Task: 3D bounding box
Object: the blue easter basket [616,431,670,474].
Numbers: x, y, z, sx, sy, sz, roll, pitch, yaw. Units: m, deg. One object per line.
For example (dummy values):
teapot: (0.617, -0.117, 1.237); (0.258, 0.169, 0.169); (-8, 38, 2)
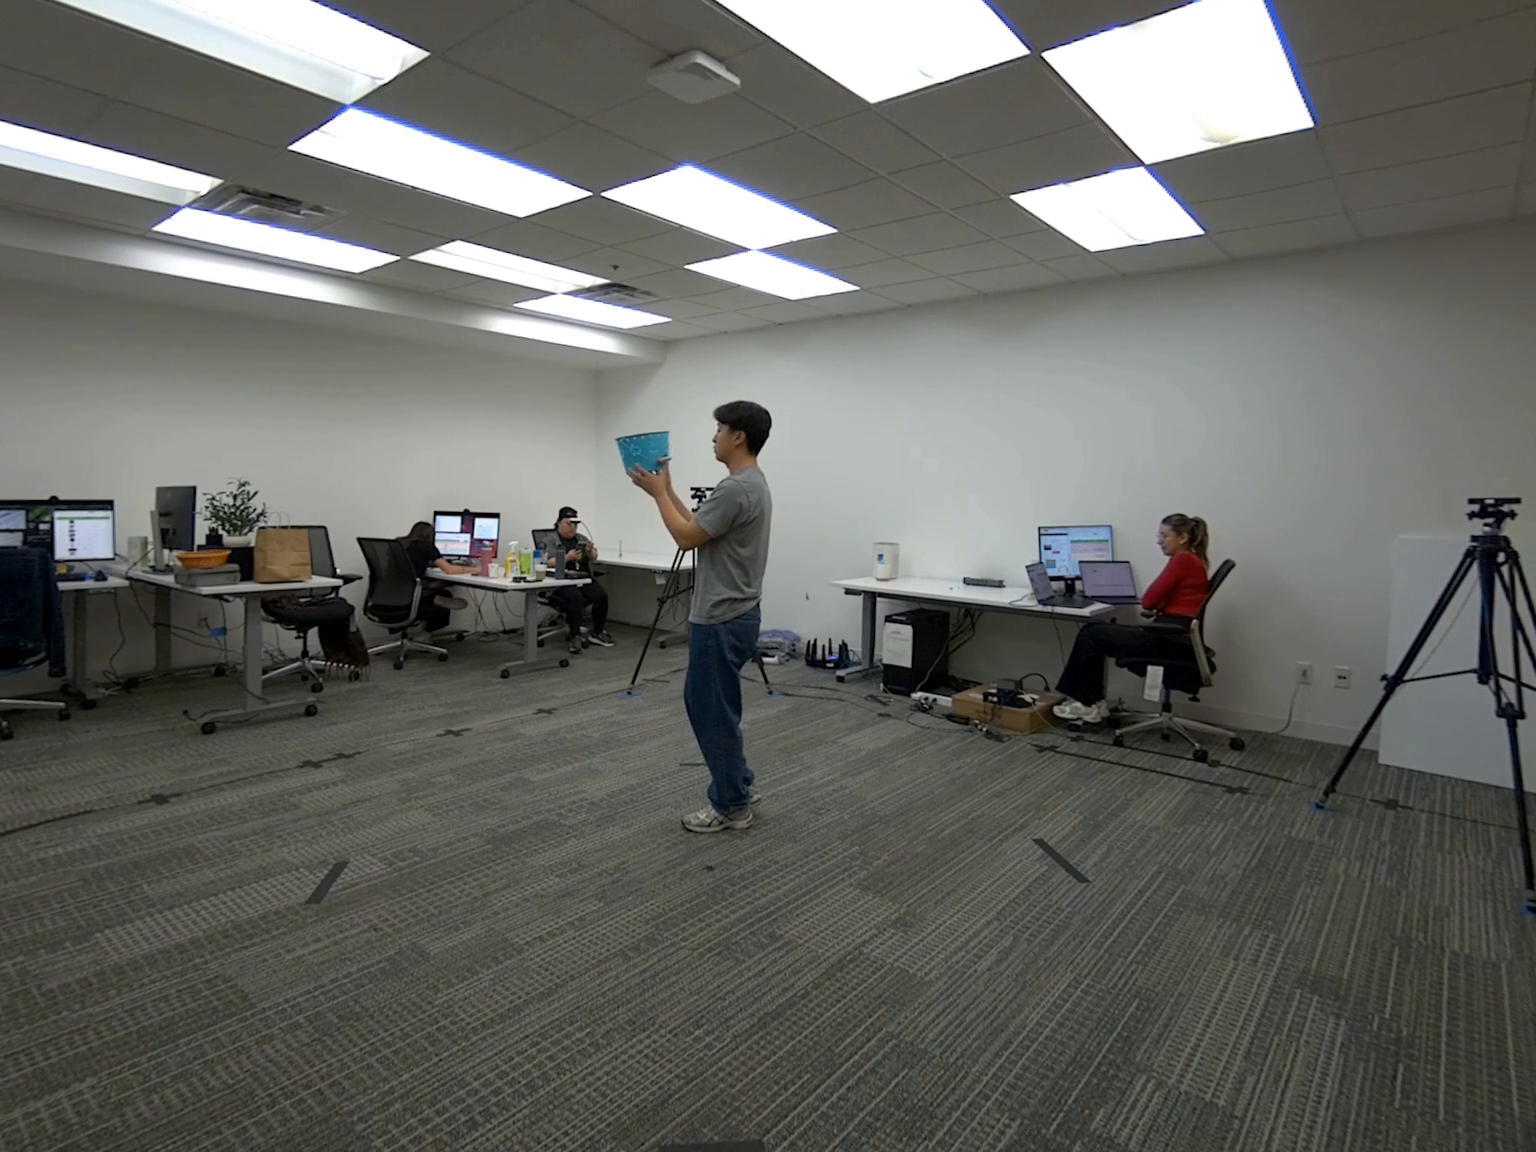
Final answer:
blue easter basket: (-0.524, -0.515, 3.540); (0.243, 0.155, 0.244); (-8, 4, -1)
